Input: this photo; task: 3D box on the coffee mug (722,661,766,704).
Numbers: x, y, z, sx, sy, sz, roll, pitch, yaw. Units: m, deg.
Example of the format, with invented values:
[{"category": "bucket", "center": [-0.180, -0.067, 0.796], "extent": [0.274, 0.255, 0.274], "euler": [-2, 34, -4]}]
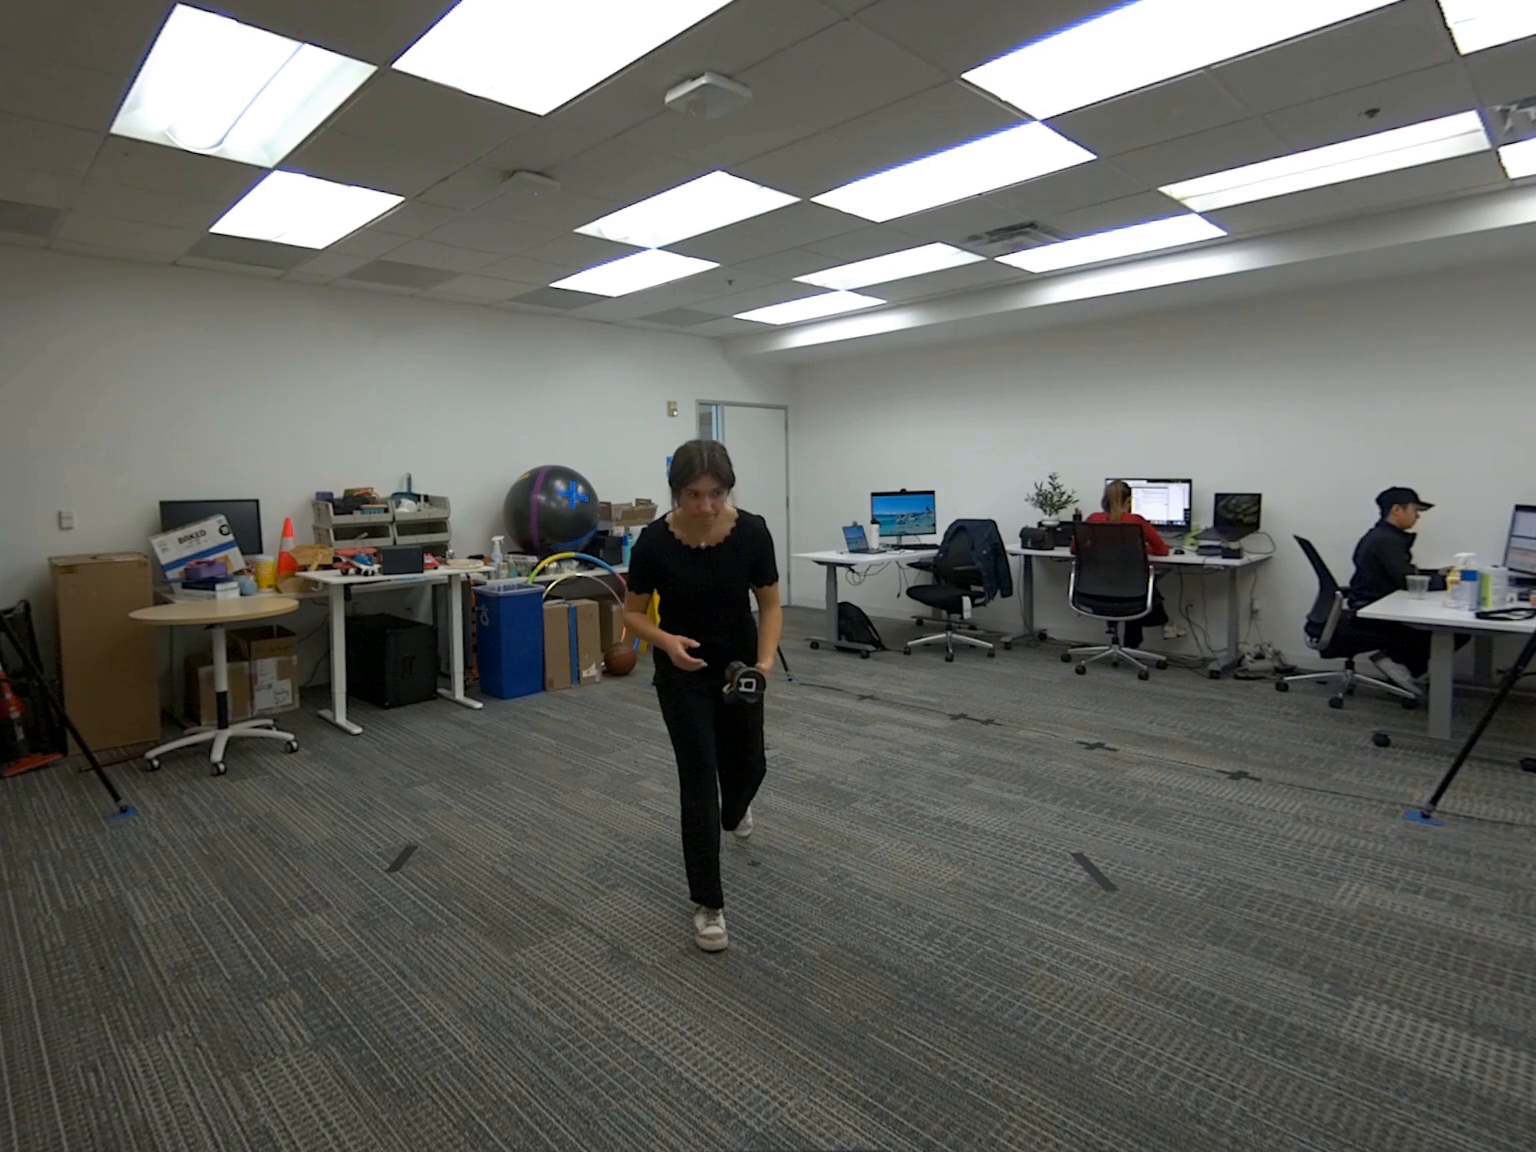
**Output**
[{"category": "coffee mug", "center": [-0.088, 0.317, 2.444], "extent": [0.122, 0.087, 0.206], "euler": [-40, 11, -12]}]
